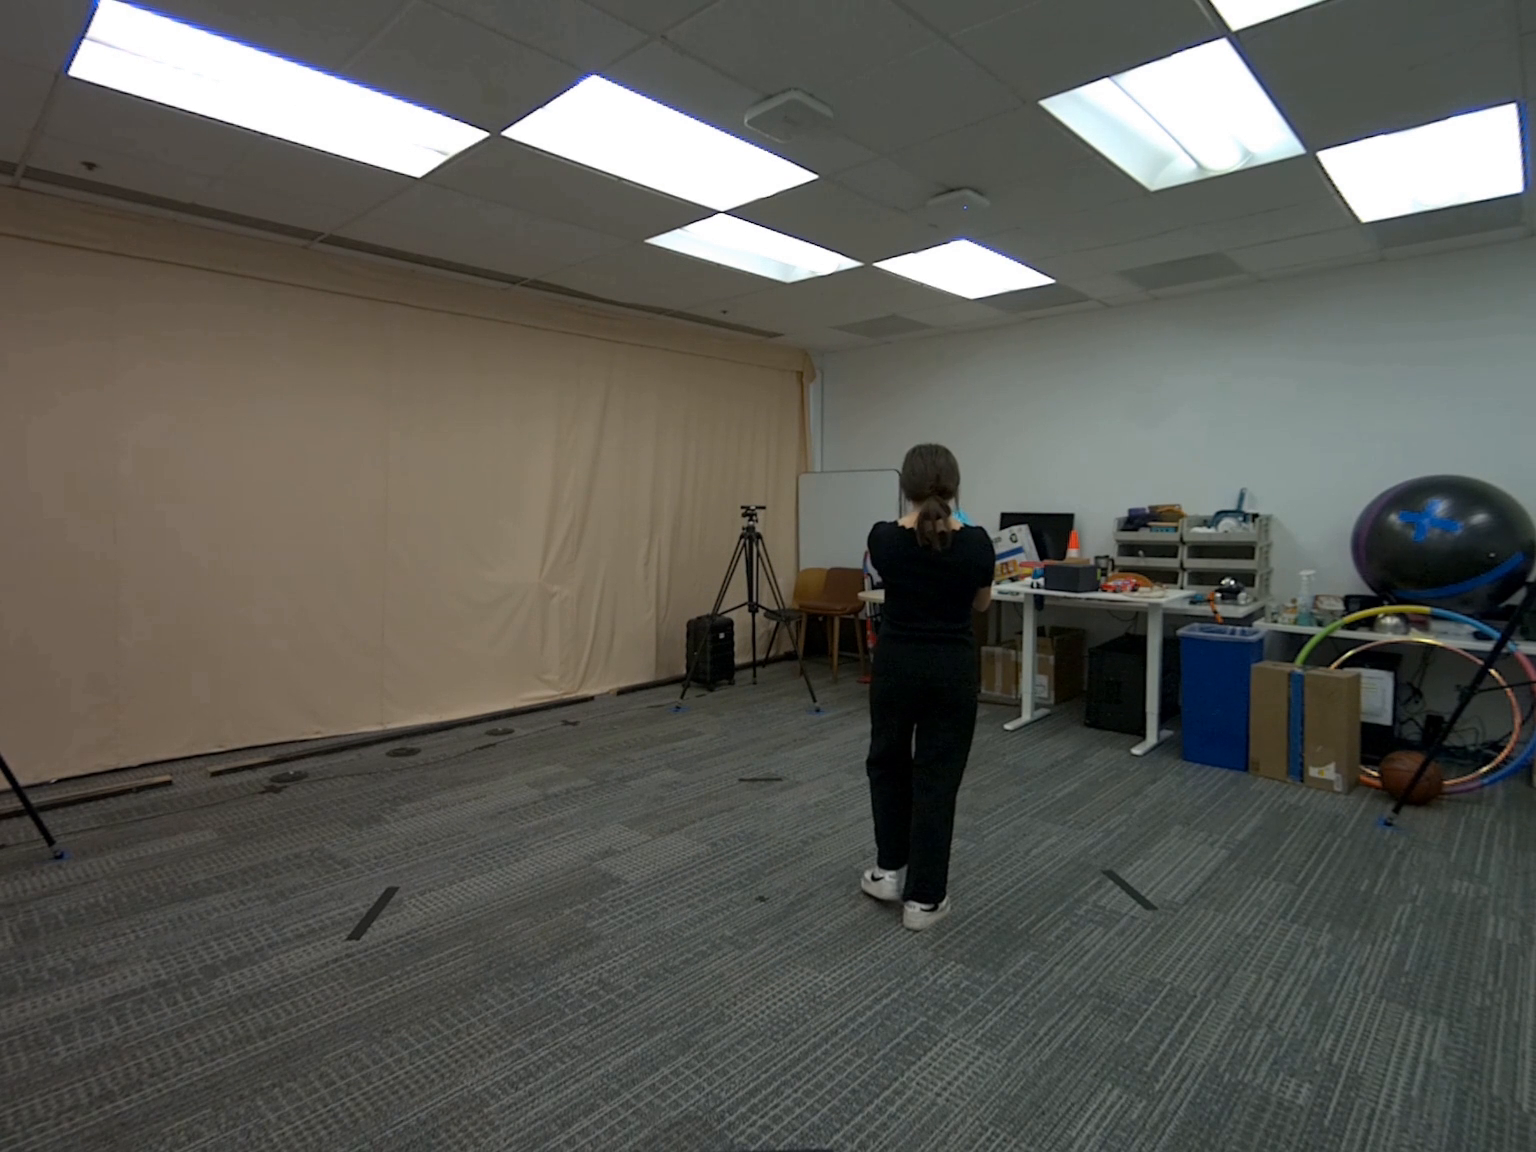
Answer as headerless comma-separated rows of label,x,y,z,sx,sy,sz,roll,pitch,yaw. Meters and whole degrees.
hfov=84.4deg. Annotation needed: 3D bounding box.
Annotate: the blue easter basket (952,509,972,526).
blue easter basket,0.710,-0.153,3.293,0.243,0.156,0.244,-27,2,-1
